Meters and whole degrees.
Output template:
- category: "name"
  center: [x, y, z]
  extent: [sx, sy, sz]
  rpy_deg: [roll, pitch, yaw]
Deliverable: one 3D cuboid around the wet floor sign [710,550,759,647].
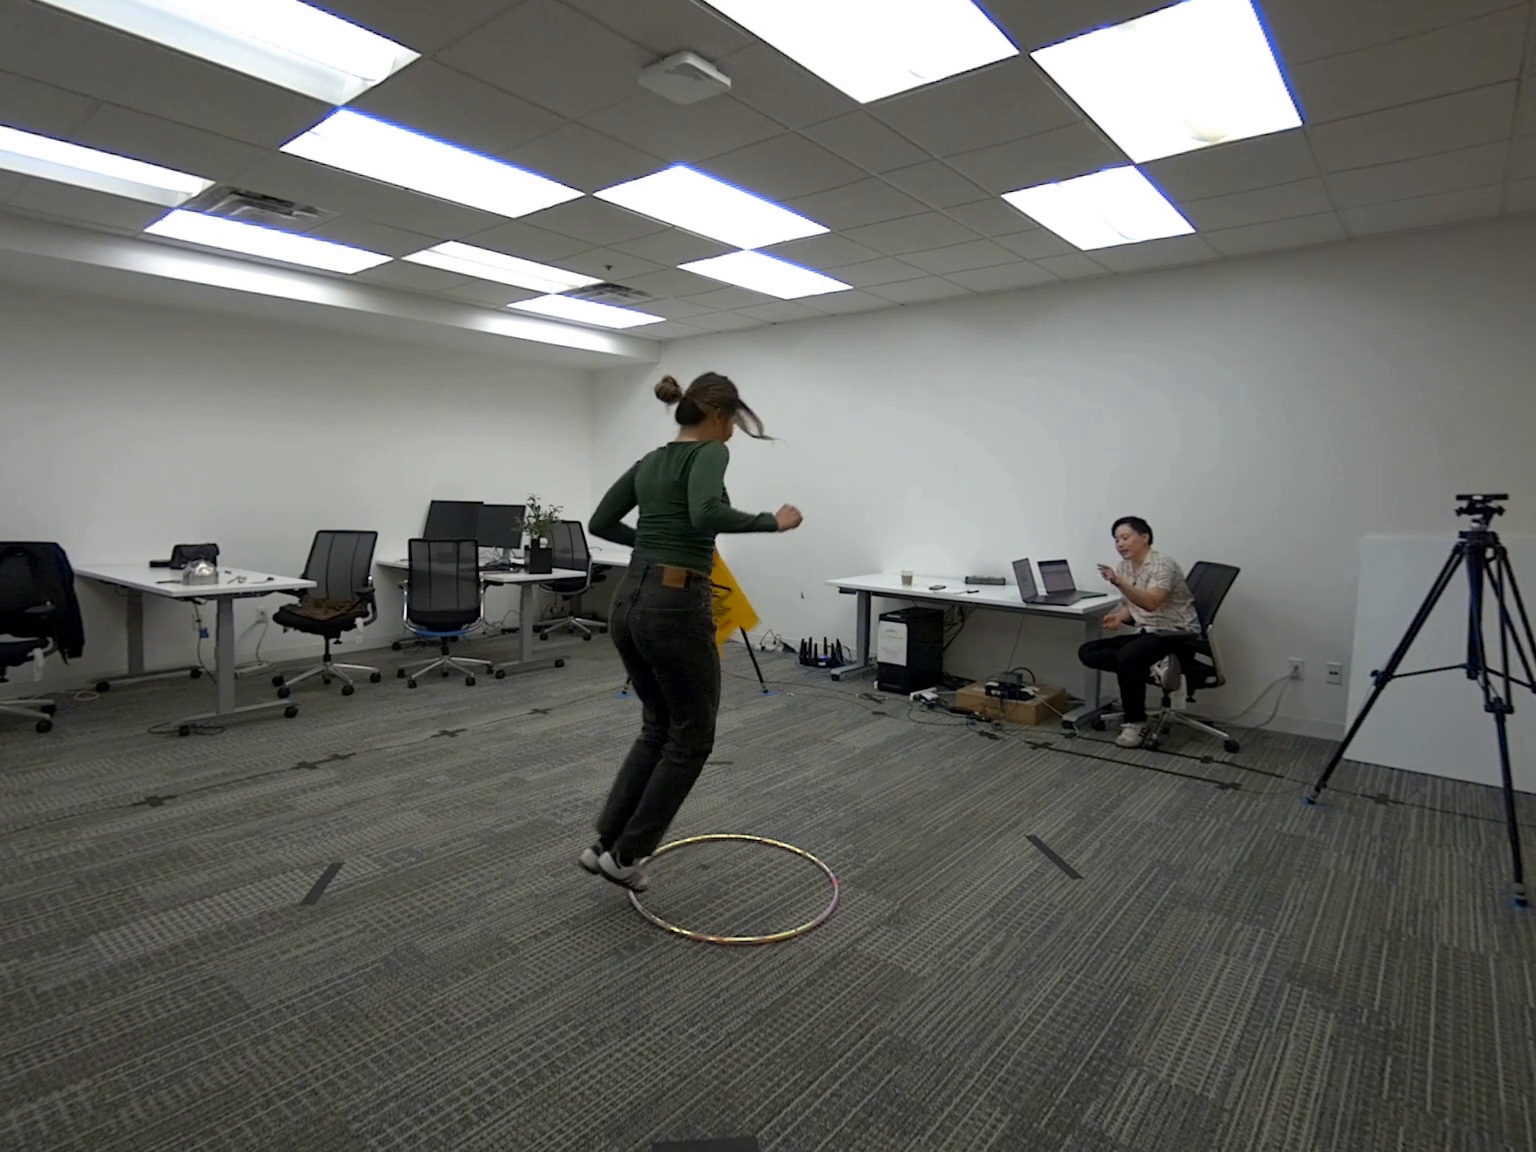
- category: "wet floor sign"
  center: [-0.282, 0.068, 3.151]
  extent: [0.299, 0.282, 0.626]
  rpy_deg: [41, -14, 24]
